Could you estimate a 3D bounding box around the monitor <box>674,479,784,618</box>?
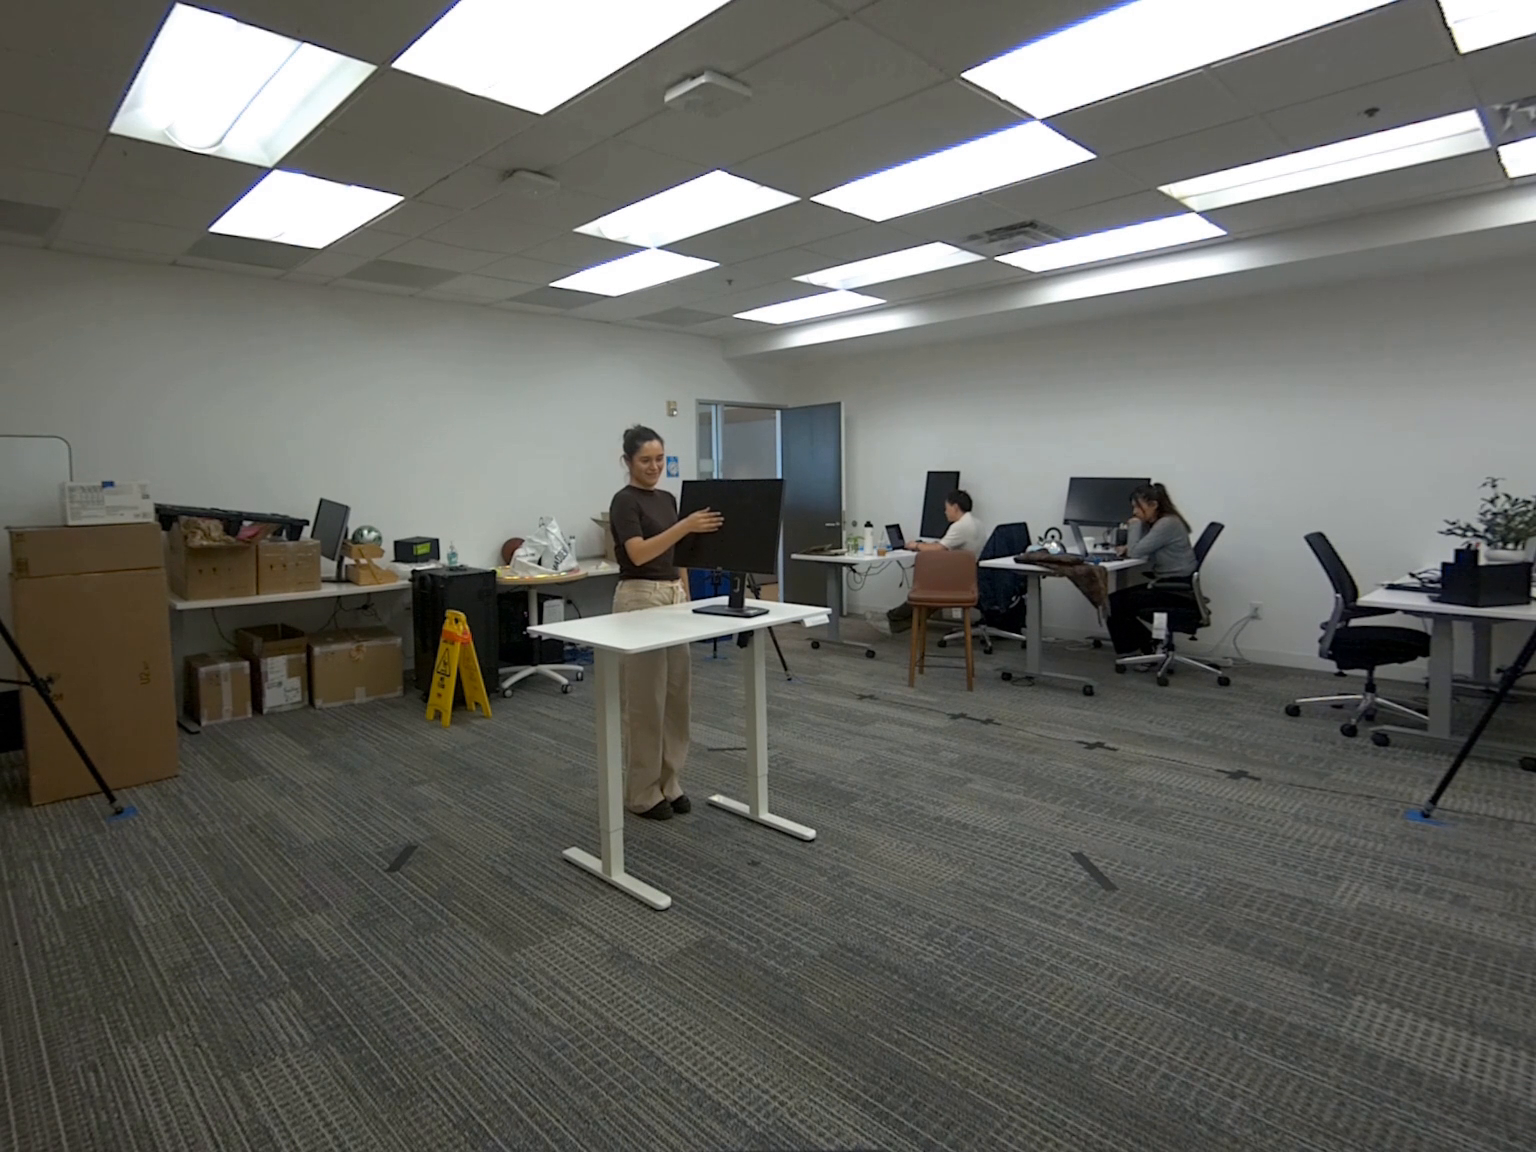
[{"bbox_3d":[-0.139,-0.110,3.284,0.556,0.520,0.182,4,7,42],"label":"monitor"}]
